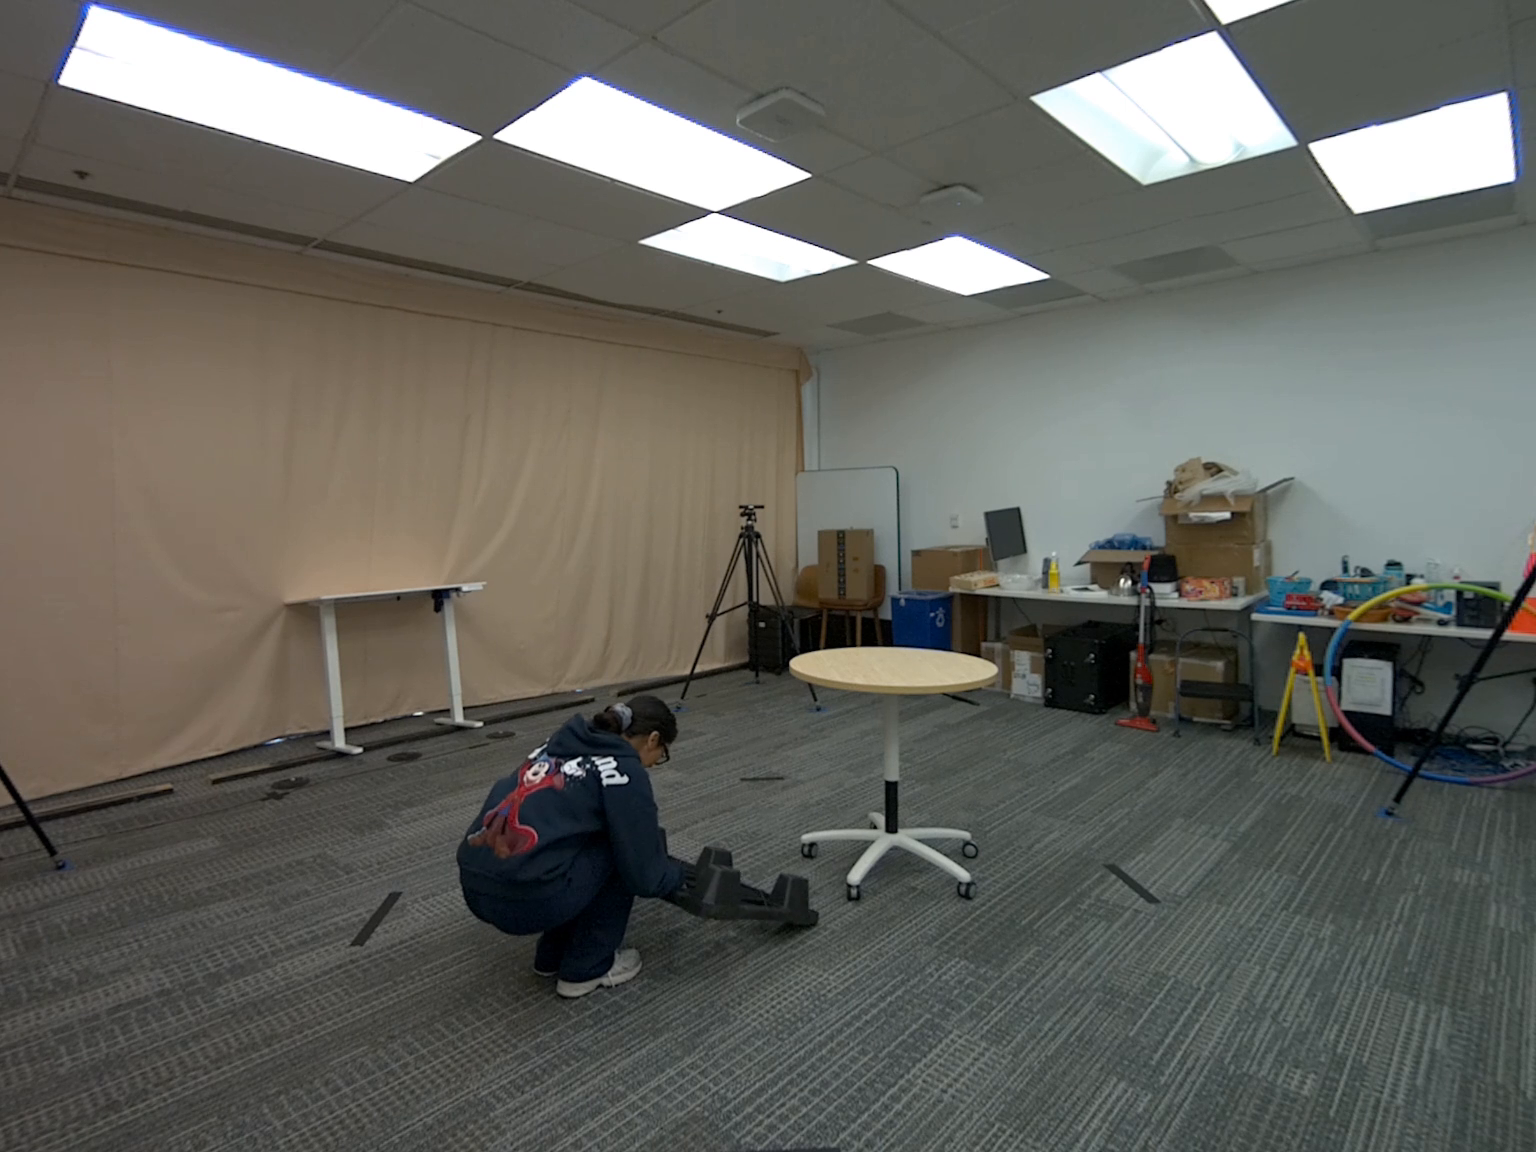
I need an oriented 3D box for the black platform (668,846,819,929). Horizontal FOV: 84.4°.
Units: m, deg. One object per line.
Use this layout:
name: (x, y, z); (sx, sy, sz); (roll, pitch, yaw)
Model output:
black platform: (-0.295, 0.982, 2.856); (0.832, 0.144, 0.583); (4, -16, 40)
